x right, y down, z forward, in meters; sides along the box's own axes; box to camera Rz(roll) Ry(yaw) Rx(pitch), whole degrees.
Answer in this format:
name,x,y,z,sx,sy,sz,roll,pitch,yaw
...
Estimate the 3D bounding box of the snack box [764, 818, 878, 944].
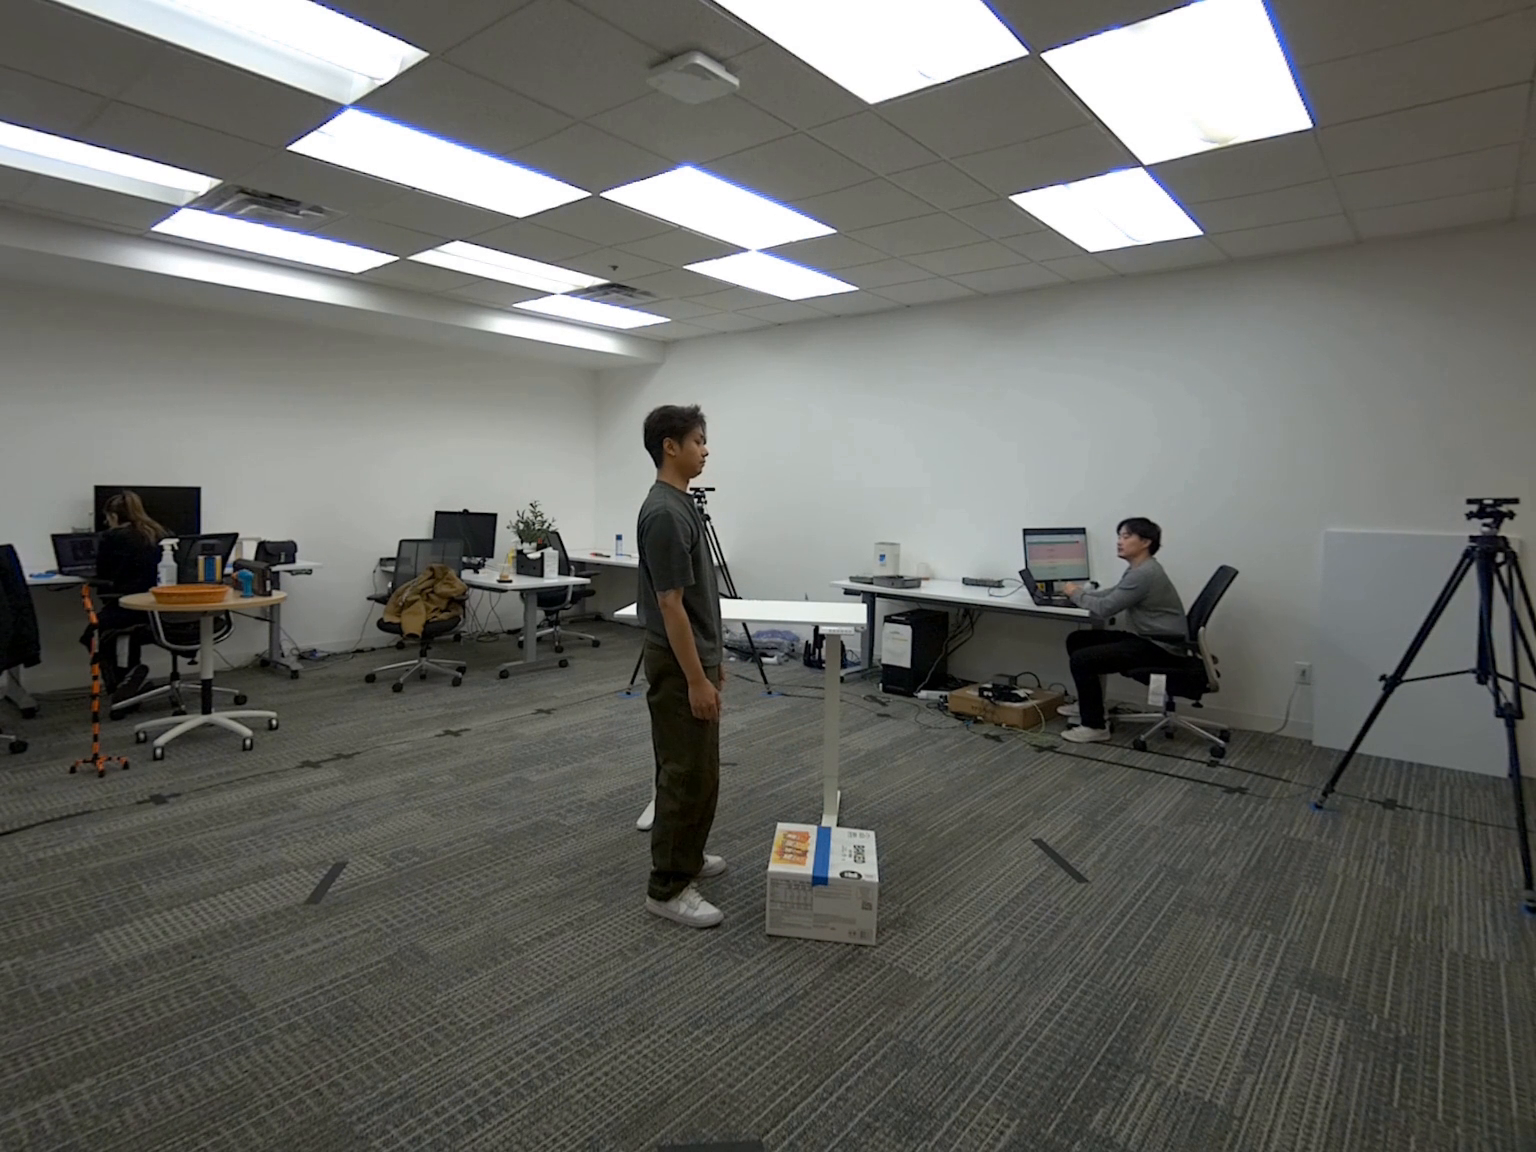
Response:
name,x,y,z,sx,sy,sz,roll,pitch,yaw
snack box,0.176,0.998,2.801,0.343,0.205,0.403,2,5,6
